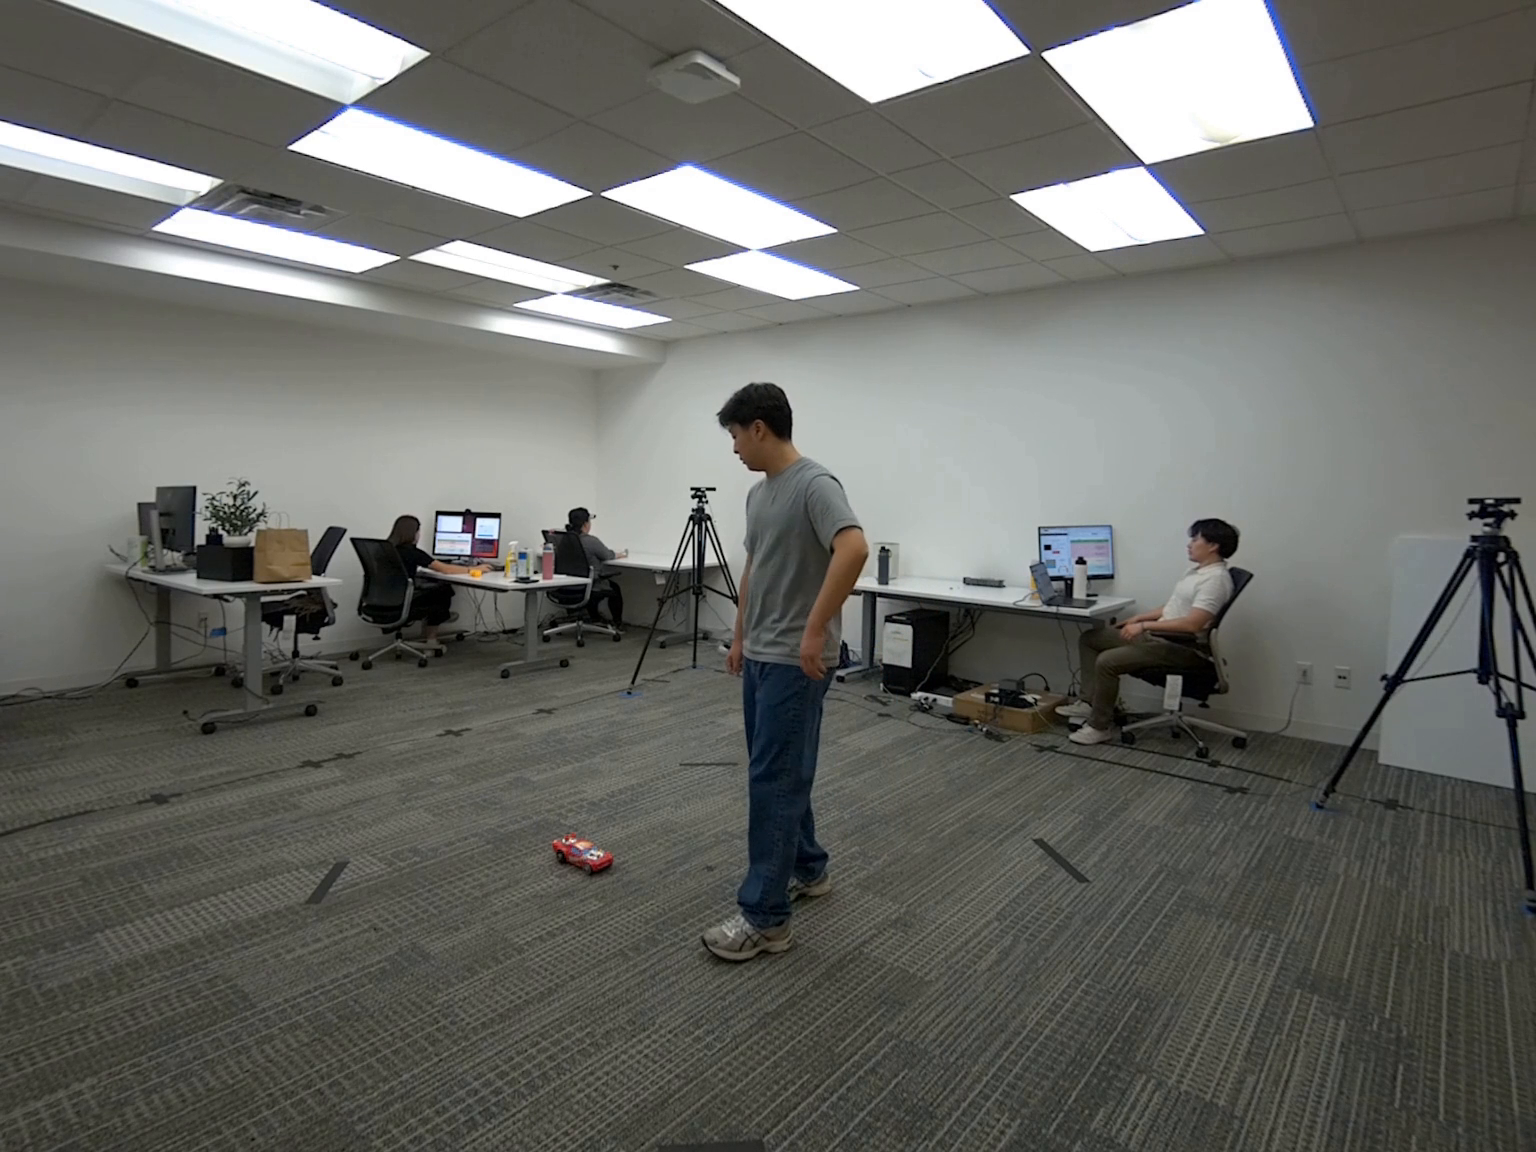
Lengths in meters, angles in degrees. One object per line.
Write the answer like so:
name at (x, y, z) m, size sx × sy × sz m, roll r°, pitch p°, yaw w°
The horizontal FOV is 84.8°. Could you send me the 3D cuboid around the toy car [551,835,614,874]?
toy car at (-0.702, 1.021, 3.135) m, size 0.264 × 0.082 × 0.126 m, roll 18°, pitch 14°, yaw 37°
